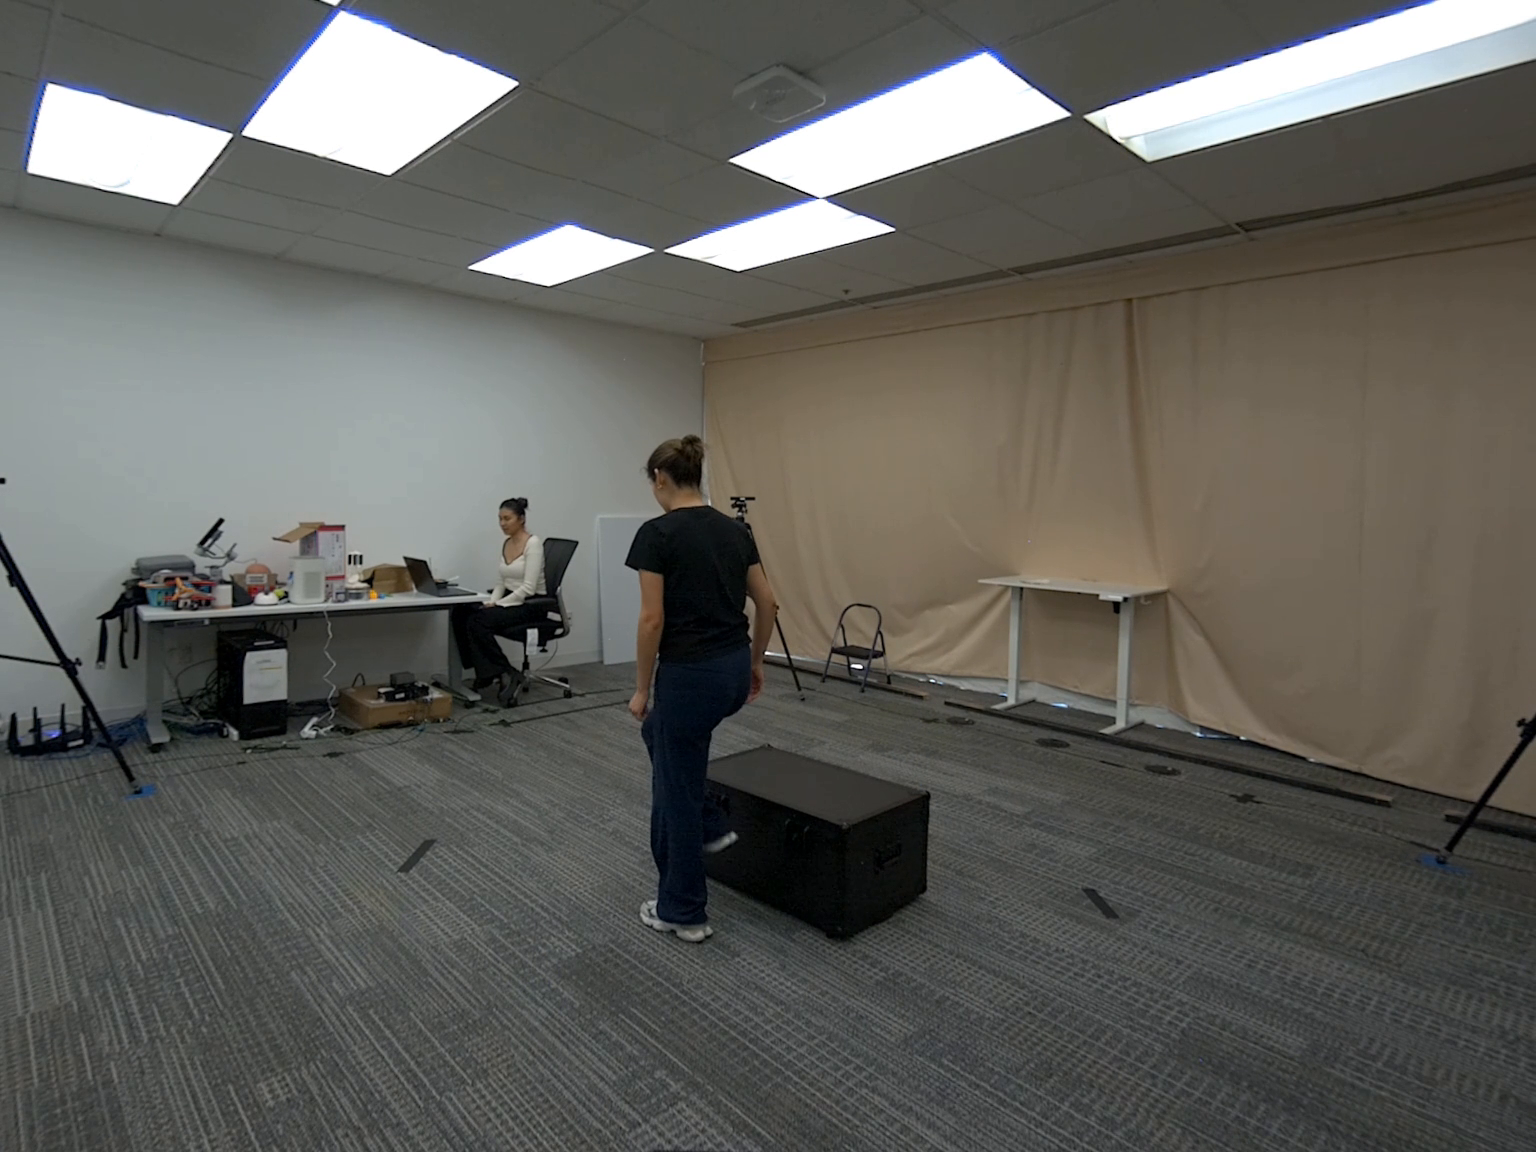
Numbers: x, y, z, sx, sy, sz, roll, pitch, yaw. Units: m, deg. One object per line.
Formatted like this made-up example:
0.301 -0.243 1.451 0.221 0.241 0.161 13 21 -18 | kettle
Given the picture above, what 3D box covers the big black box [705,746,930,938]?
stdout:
0.089 0.925 3.074 0.884 0.395 0.509 6 7 43 | big black box
